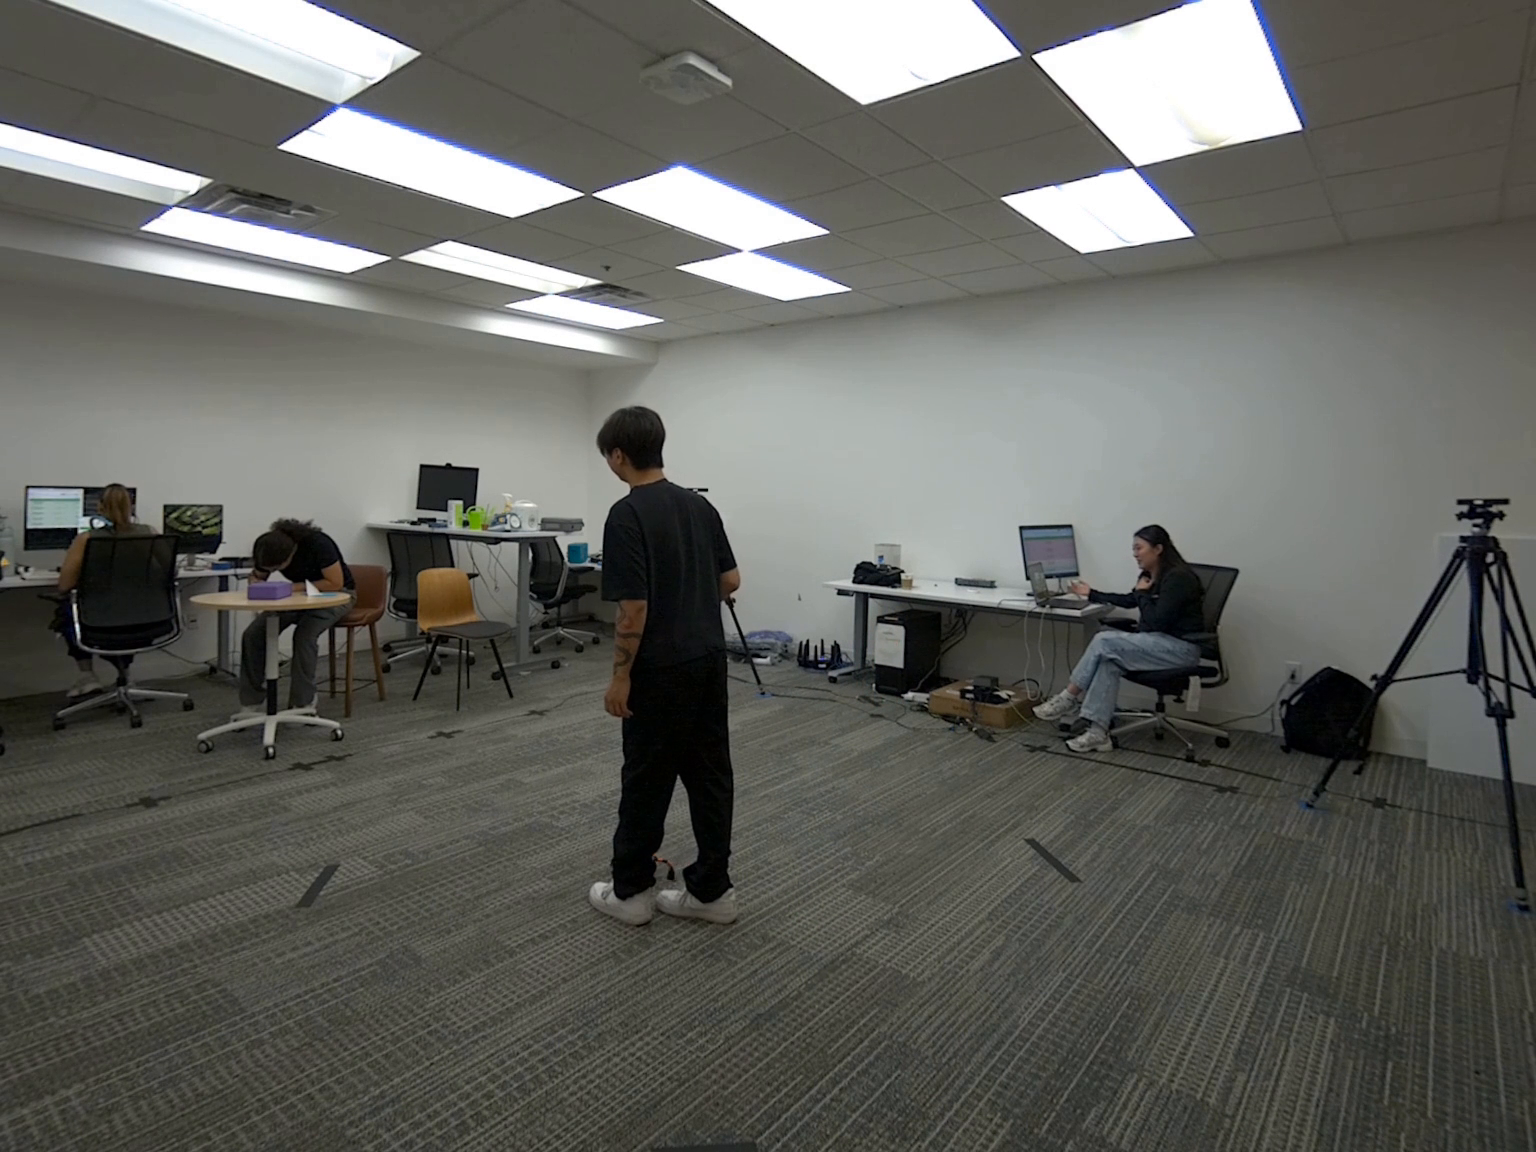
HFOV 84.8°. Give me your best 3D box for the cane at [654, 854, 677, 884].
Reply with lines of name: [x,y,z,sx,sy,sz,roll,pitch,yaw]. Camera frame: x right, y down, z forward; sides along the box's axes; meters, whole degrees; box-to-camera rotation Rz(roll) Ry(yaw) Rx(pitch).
cane: [-0.403,0.610,3.065,0.213,0.909,0.146,5,-2,41]
